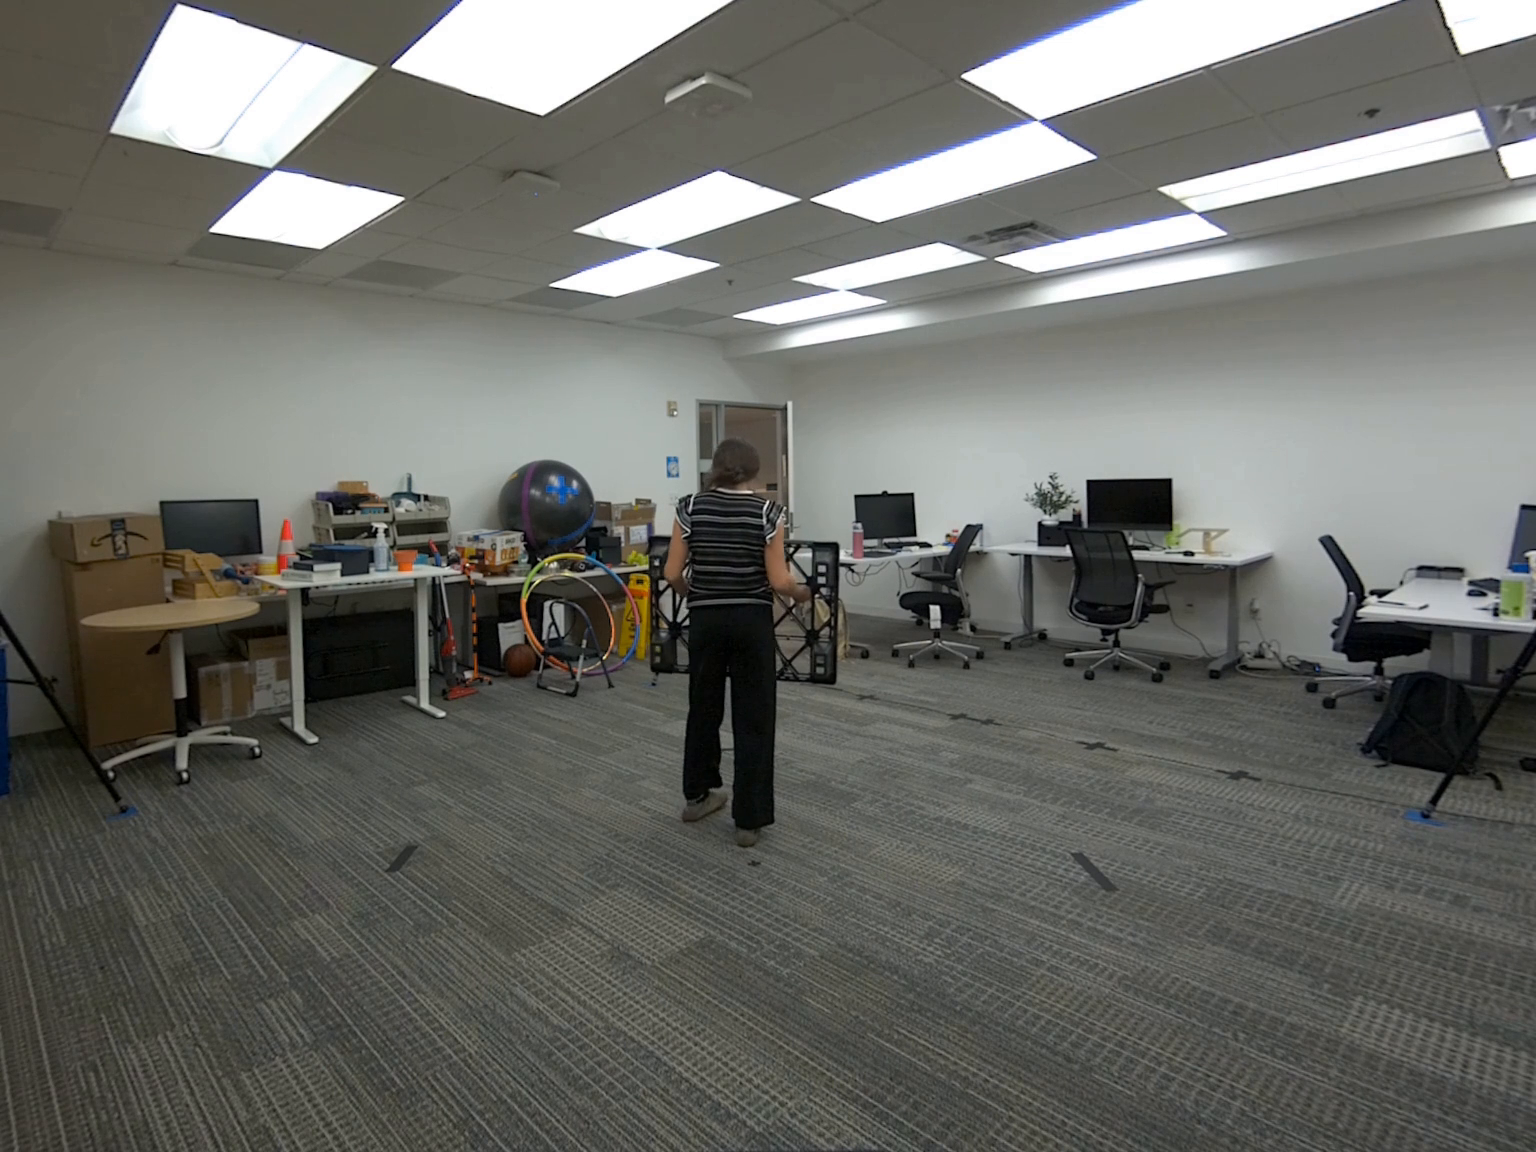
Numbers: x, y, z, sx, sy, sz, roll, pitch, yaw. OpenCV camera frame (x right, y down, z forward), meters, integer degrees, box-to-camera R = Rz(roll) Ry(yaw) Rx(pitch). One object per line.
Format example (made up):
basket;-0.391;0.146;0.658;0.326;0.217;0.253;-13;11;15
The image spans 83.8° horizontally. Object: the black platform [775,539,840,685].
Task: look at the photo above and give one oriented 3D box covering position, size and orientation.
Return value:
black platform;-0.110;0.147;3.523;0.814;0.600;0.143;2;9;10
